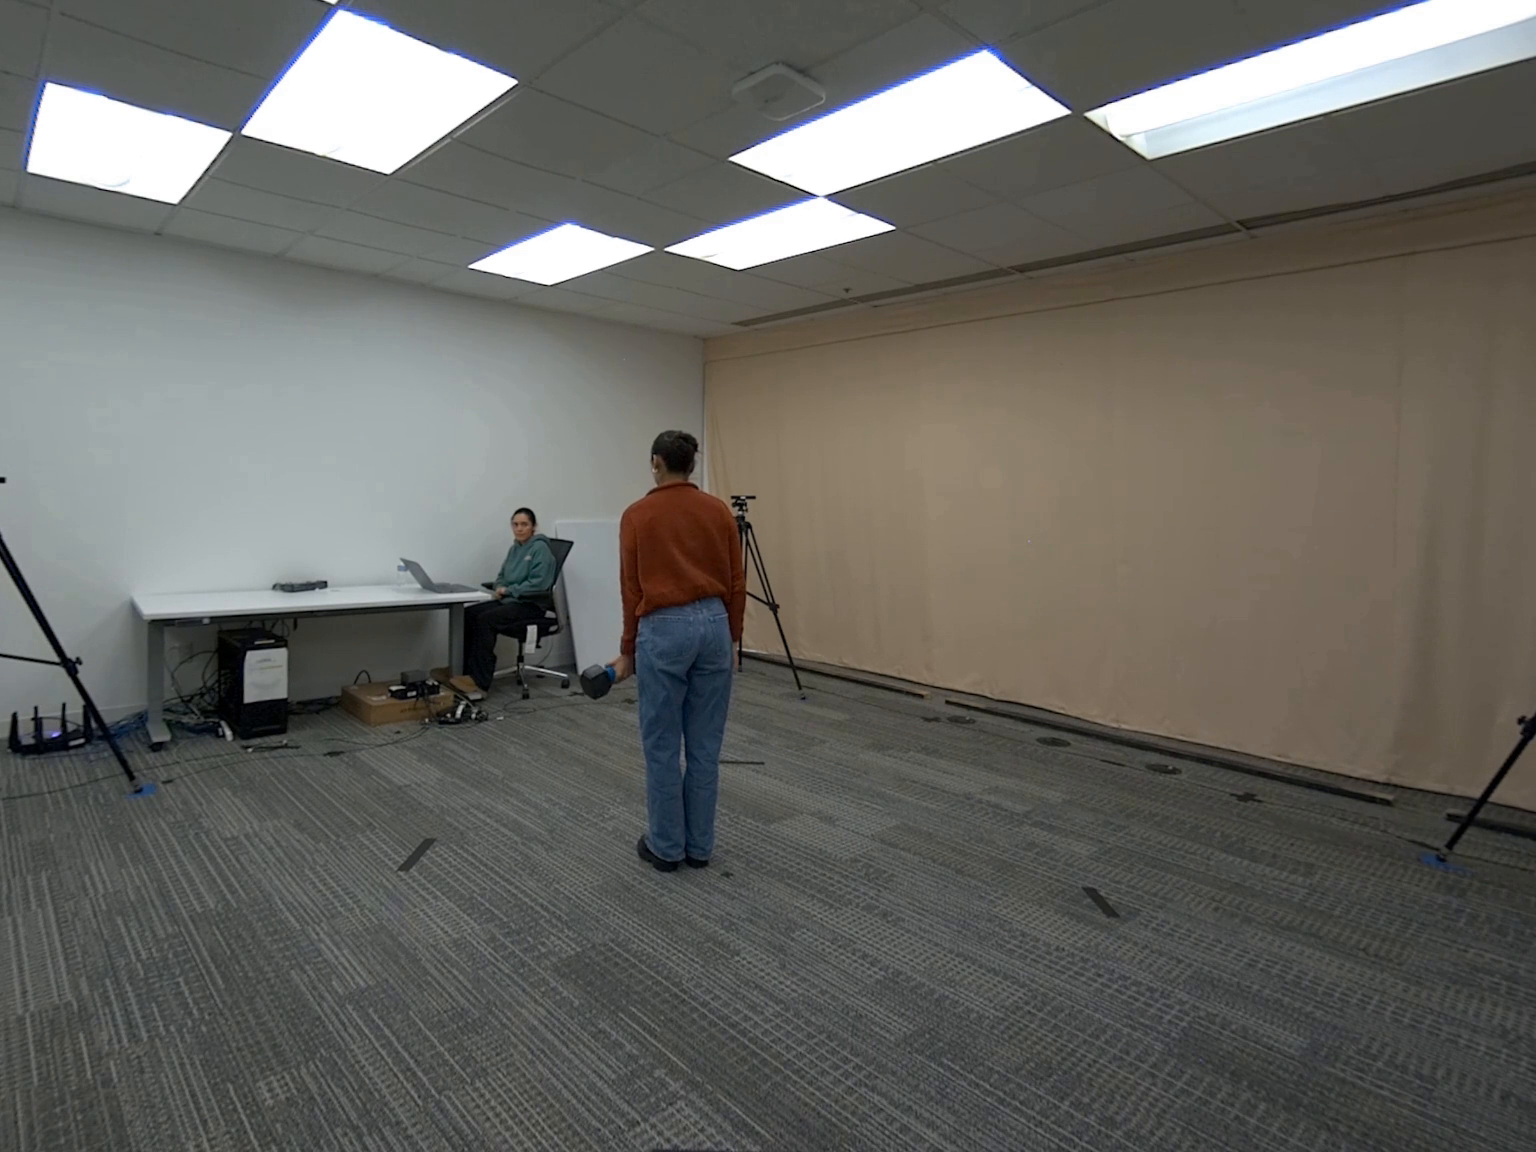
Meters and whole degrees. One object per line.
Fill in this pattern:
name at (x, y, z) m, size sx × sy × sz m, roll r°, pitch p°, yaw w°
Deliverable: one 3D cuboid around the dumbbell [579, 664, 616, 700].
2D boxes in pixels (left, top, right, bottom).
dumbbell at (-0.576, 0.358, 3.236) m, size 0.290 × 0.122 × 0.111 m, roll -26°, pitch 9°, yaw -39°
